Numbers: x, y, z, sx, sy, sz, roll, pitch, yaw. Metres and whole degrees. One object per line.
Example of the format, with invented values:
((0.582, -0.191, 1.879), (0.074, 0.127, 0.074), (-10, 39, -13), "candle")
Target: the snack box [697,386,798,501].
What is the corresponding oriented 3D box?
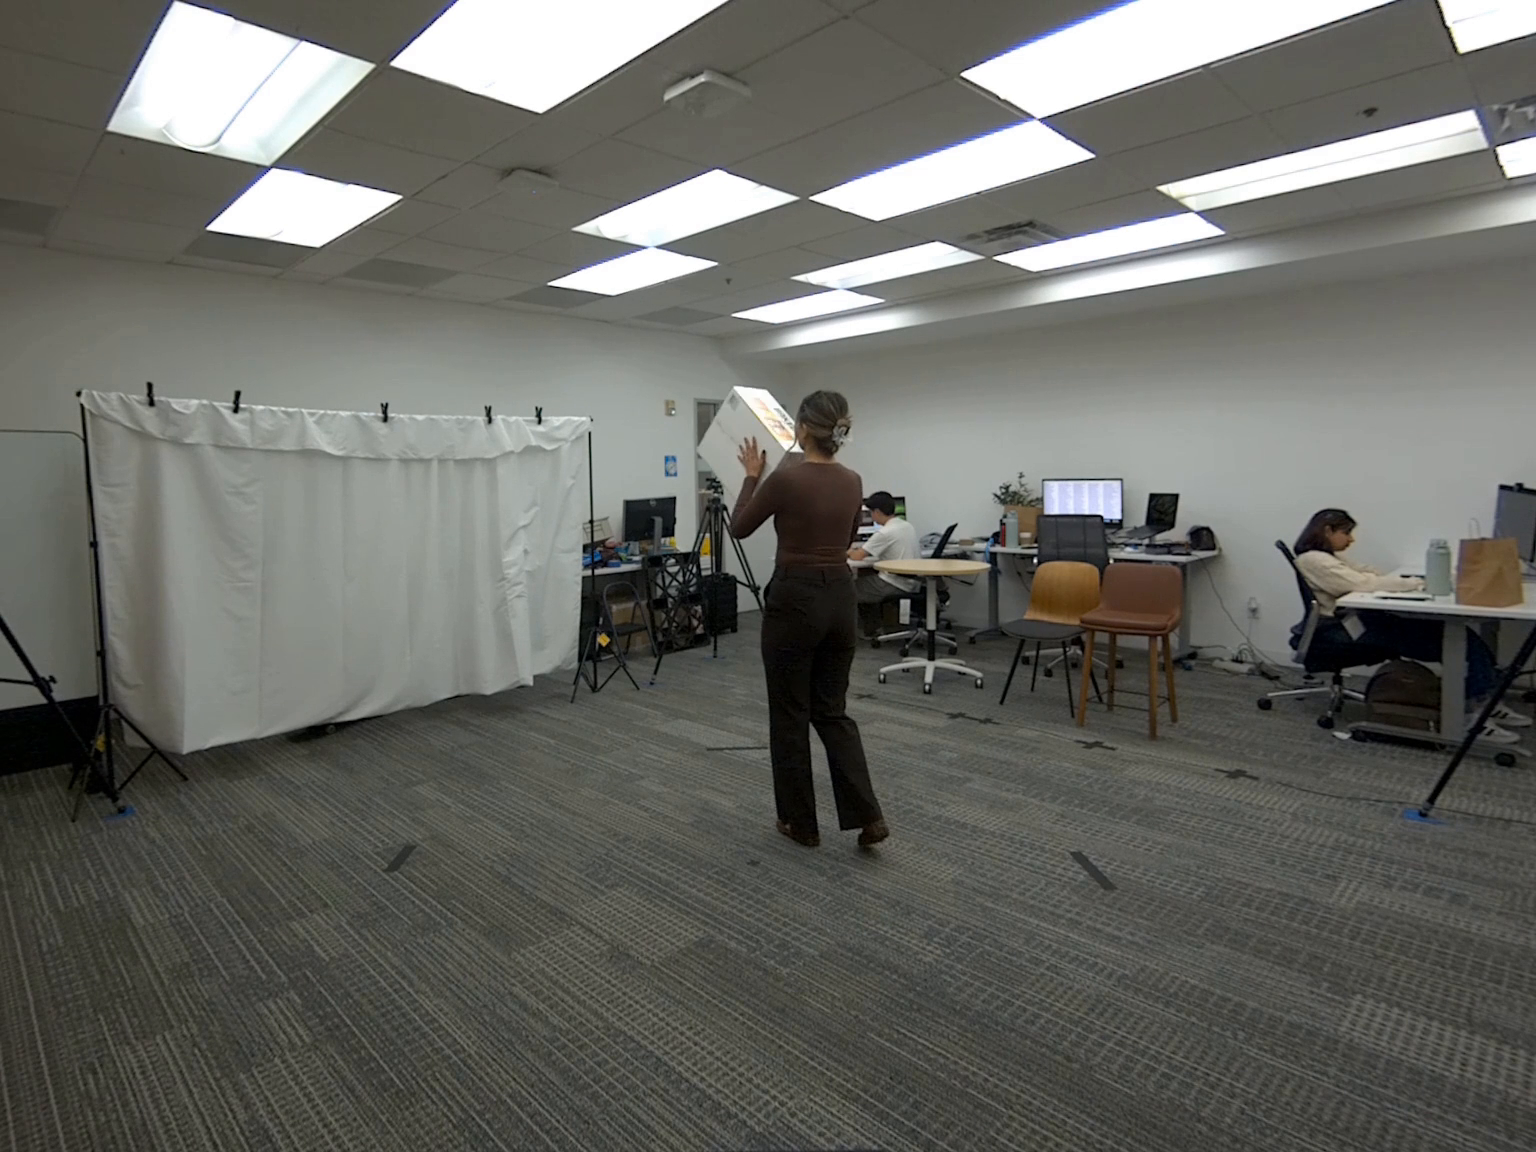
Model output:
((-0.043, -0.513, 3.516), (0.200, 0.338, 0.419), (-4, 48, -45), "snack box")
